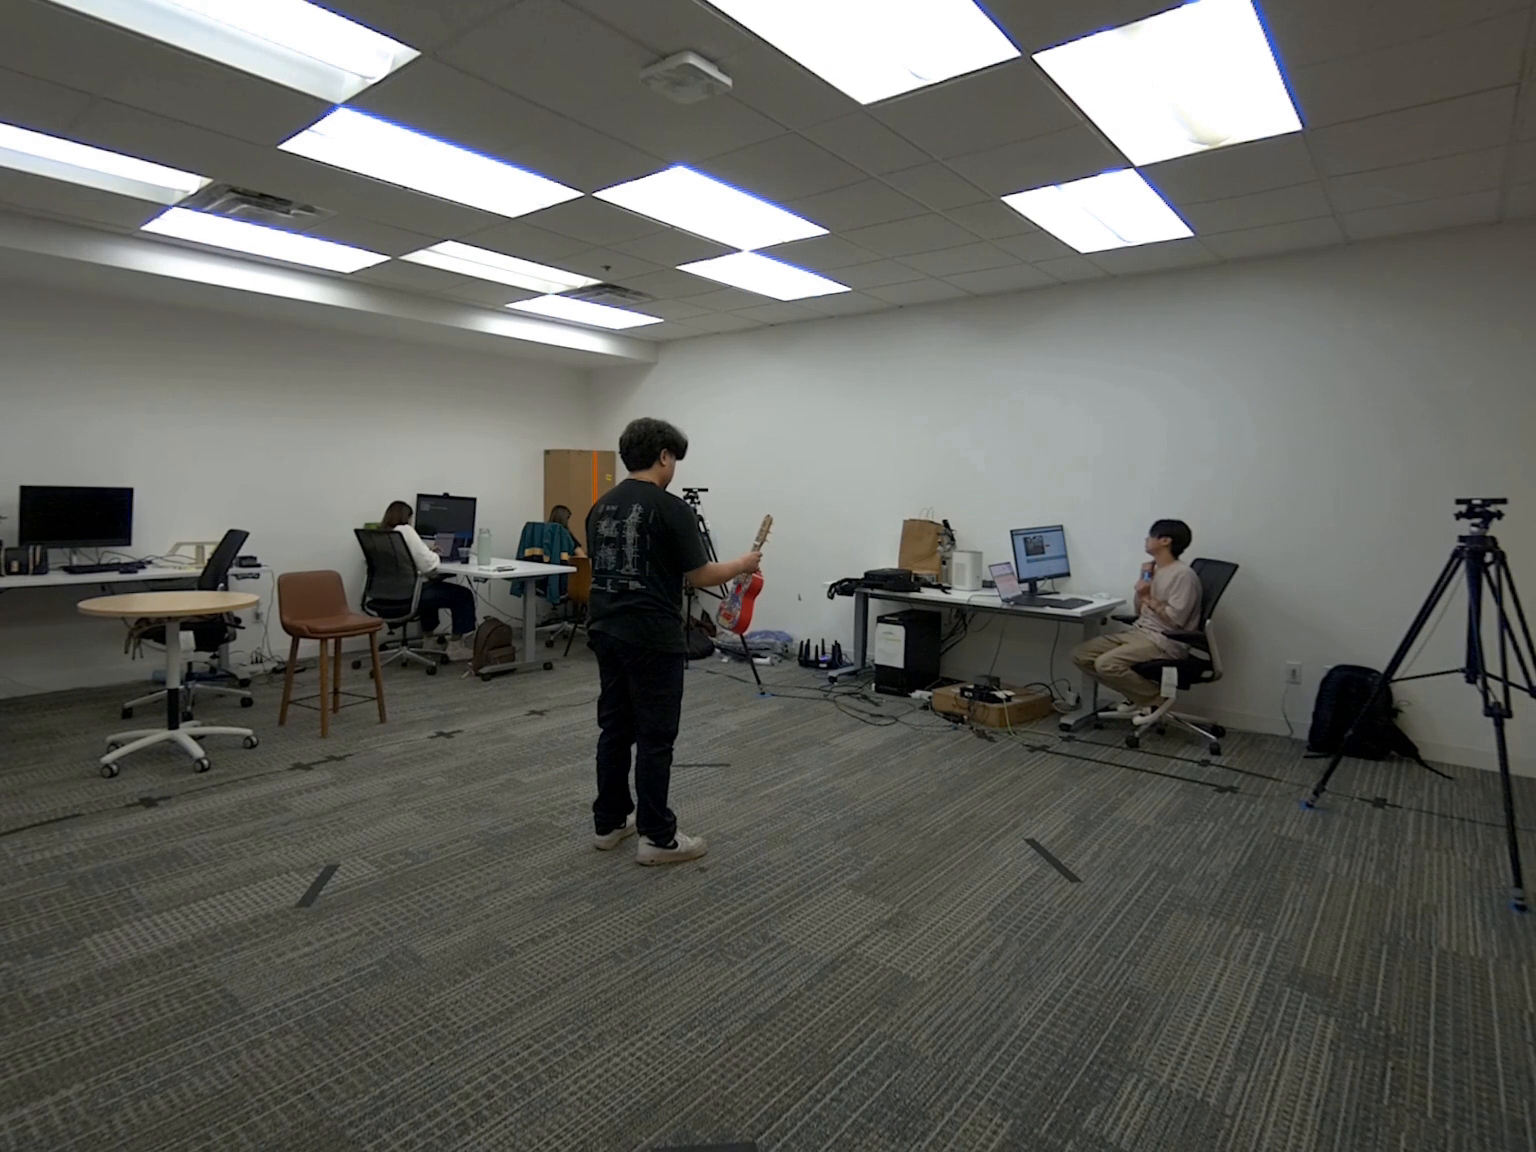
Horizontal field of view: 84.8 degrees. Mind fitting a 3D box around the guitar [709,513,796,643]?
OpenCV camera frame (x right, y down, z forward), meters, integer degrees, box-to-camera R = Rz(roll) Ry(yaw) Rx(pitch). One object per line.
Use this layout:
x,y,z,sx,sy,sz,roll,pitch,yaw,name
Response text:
-0.070,0.002,3.438,0.068,0.496,0.200,23,9,-28,guitar
